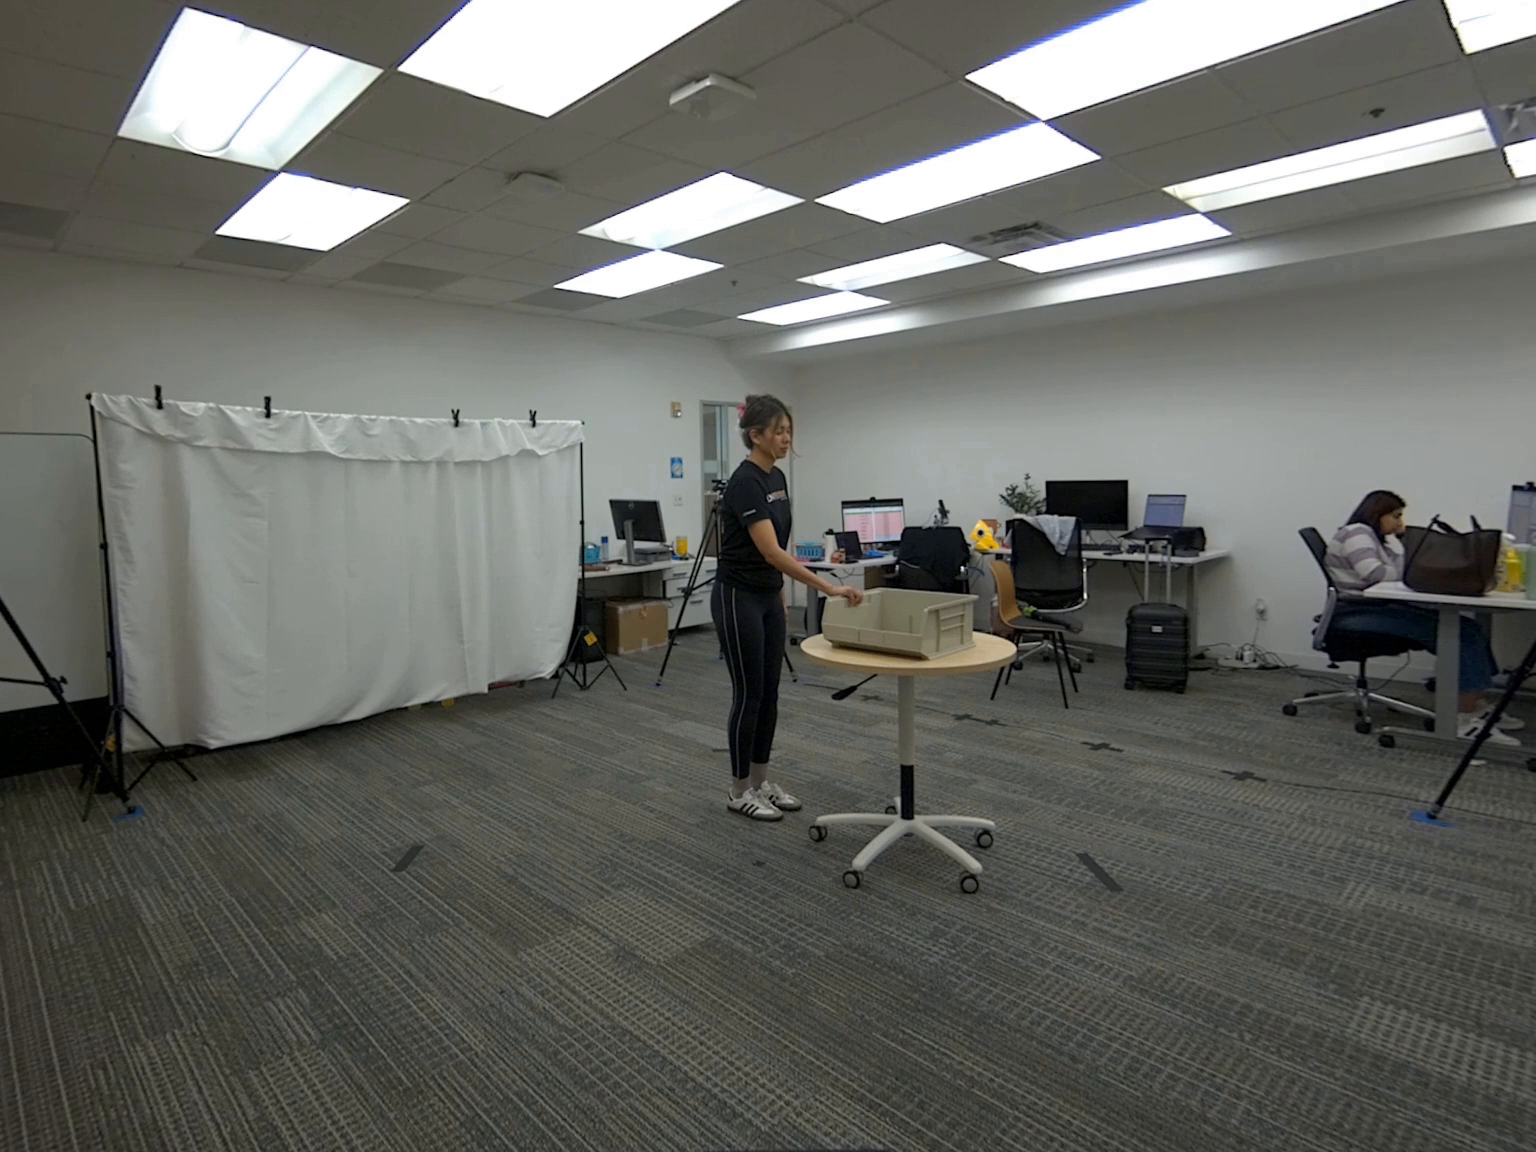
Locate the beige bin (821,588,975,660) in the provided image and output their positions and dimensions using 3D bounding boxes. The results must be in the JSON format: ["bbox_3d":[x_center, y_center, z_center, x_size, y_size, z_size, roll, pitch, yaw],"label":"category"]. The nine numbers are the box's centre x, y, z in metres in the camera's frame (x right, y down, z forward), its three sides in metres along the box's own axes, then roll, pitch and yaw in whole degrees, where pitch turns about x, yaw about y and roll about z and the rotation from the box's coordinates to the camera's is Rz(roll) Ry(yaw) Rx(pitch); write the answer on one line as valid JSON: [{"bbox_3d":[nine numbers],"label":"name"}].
[{"bbox_3d":[0.473,0.167,3.071,0.435,0.188,0.367,4,6,44],"label":"beige bin"}]
